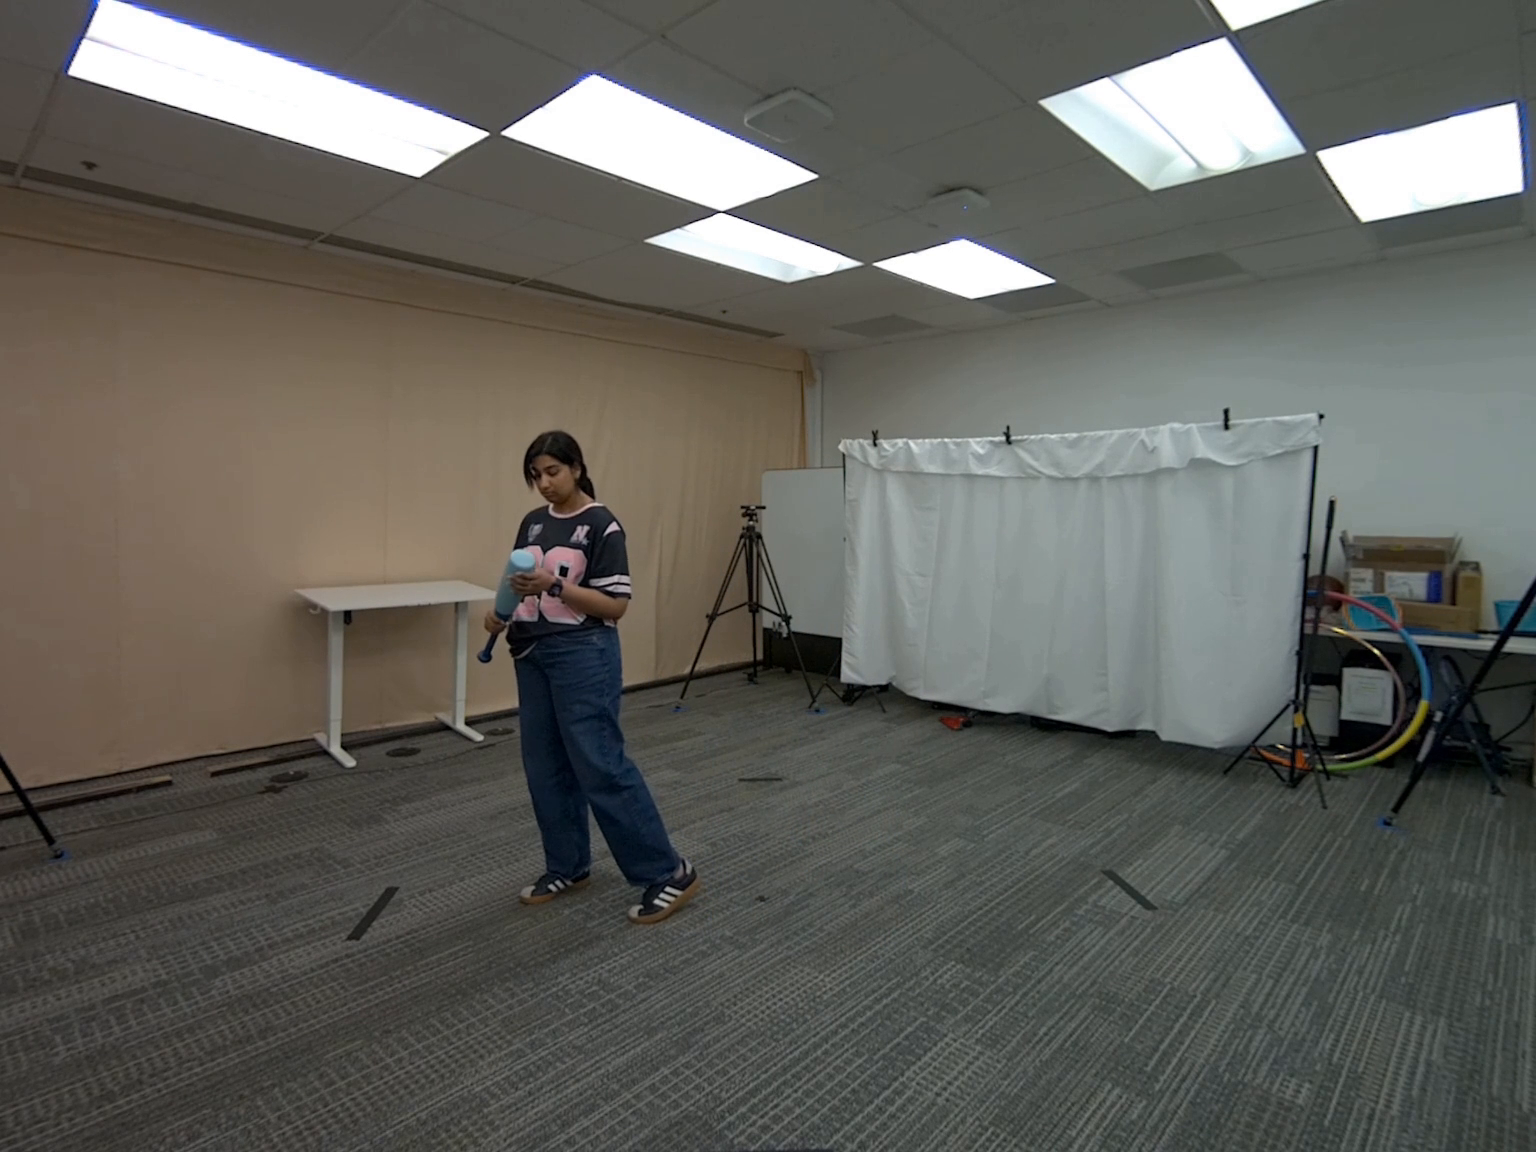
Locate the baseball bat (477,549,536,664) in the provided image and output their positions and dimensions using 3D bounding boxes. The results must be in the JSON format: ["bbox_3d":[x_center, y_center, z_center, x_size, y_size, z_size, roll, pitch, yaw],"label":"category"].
[{"bbox_3d":[-0.876,0.120,2.801,0.087,0.543,0.091,18,41,-18],"label":"baseball bat"}]
